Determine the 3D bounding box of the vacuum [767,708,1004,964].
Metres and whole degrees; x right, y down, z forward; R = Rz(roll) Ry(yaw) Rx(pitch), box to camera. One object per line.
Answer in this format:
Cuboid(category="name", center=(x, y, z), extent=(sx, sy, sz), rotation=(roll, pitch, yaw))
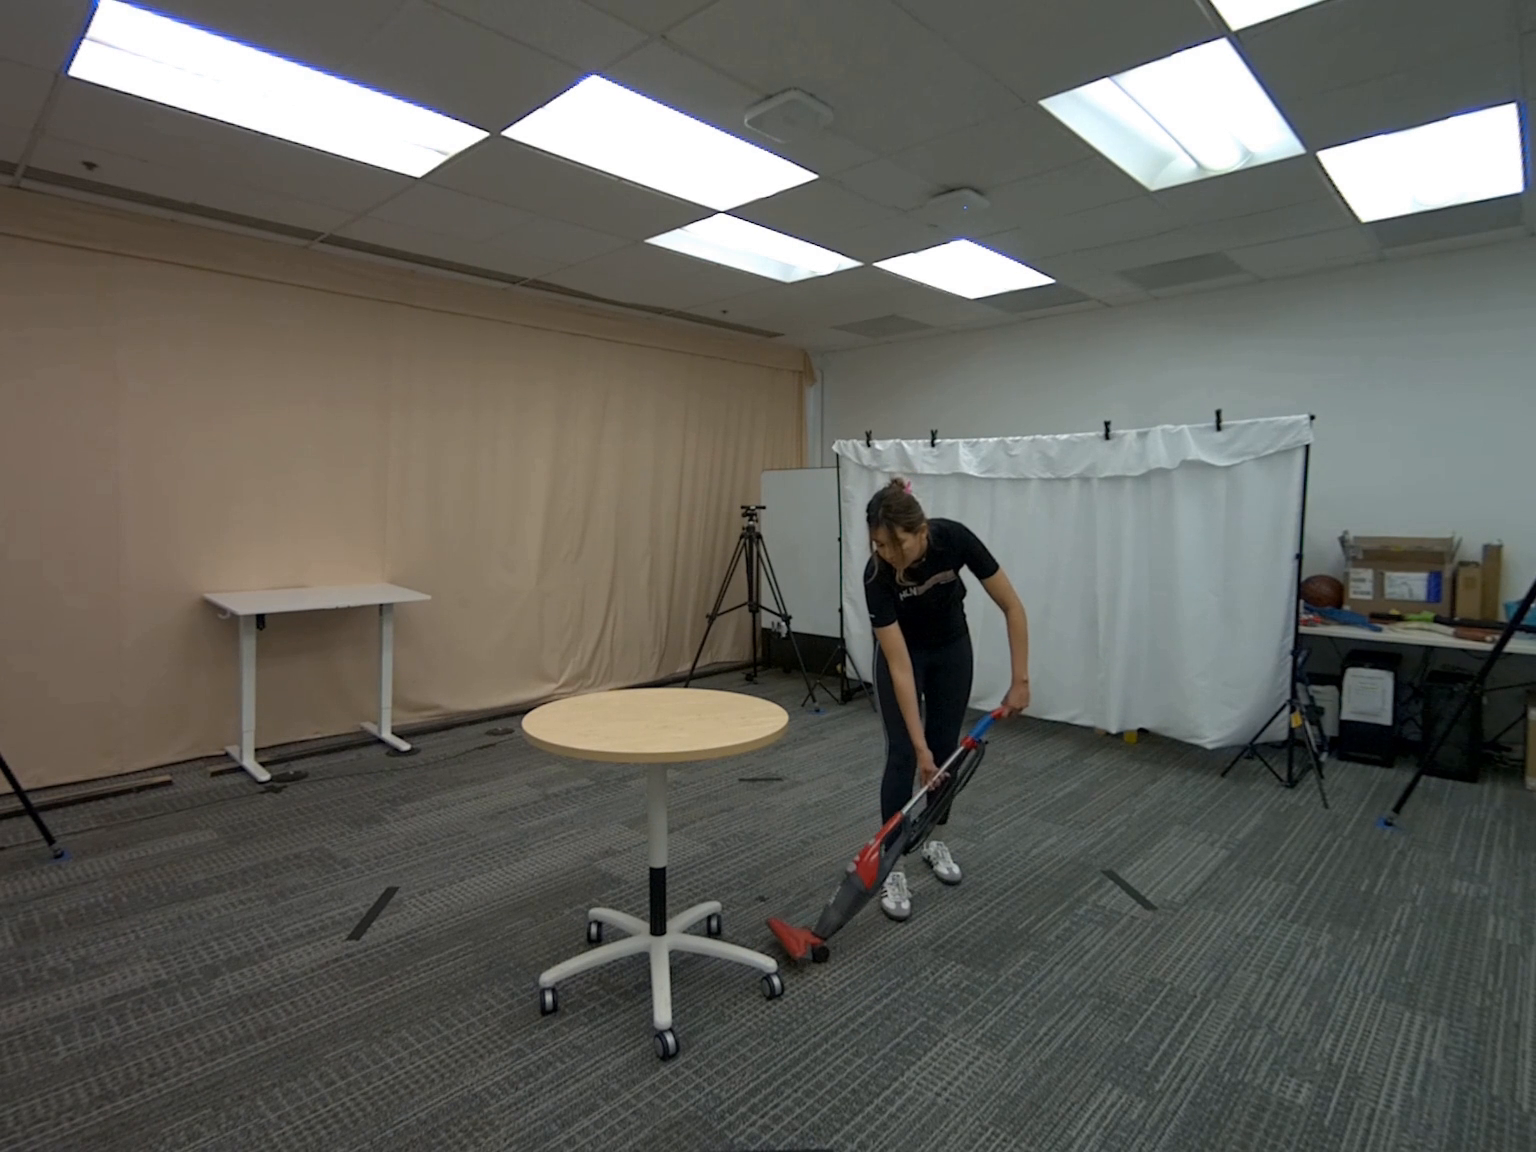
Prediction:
Cuboid(category="vacuum", center=(0.463, 0.805, 2.707), extent=(1.044, 0.141, 0.259), rotation=(-42, 20, -12))
